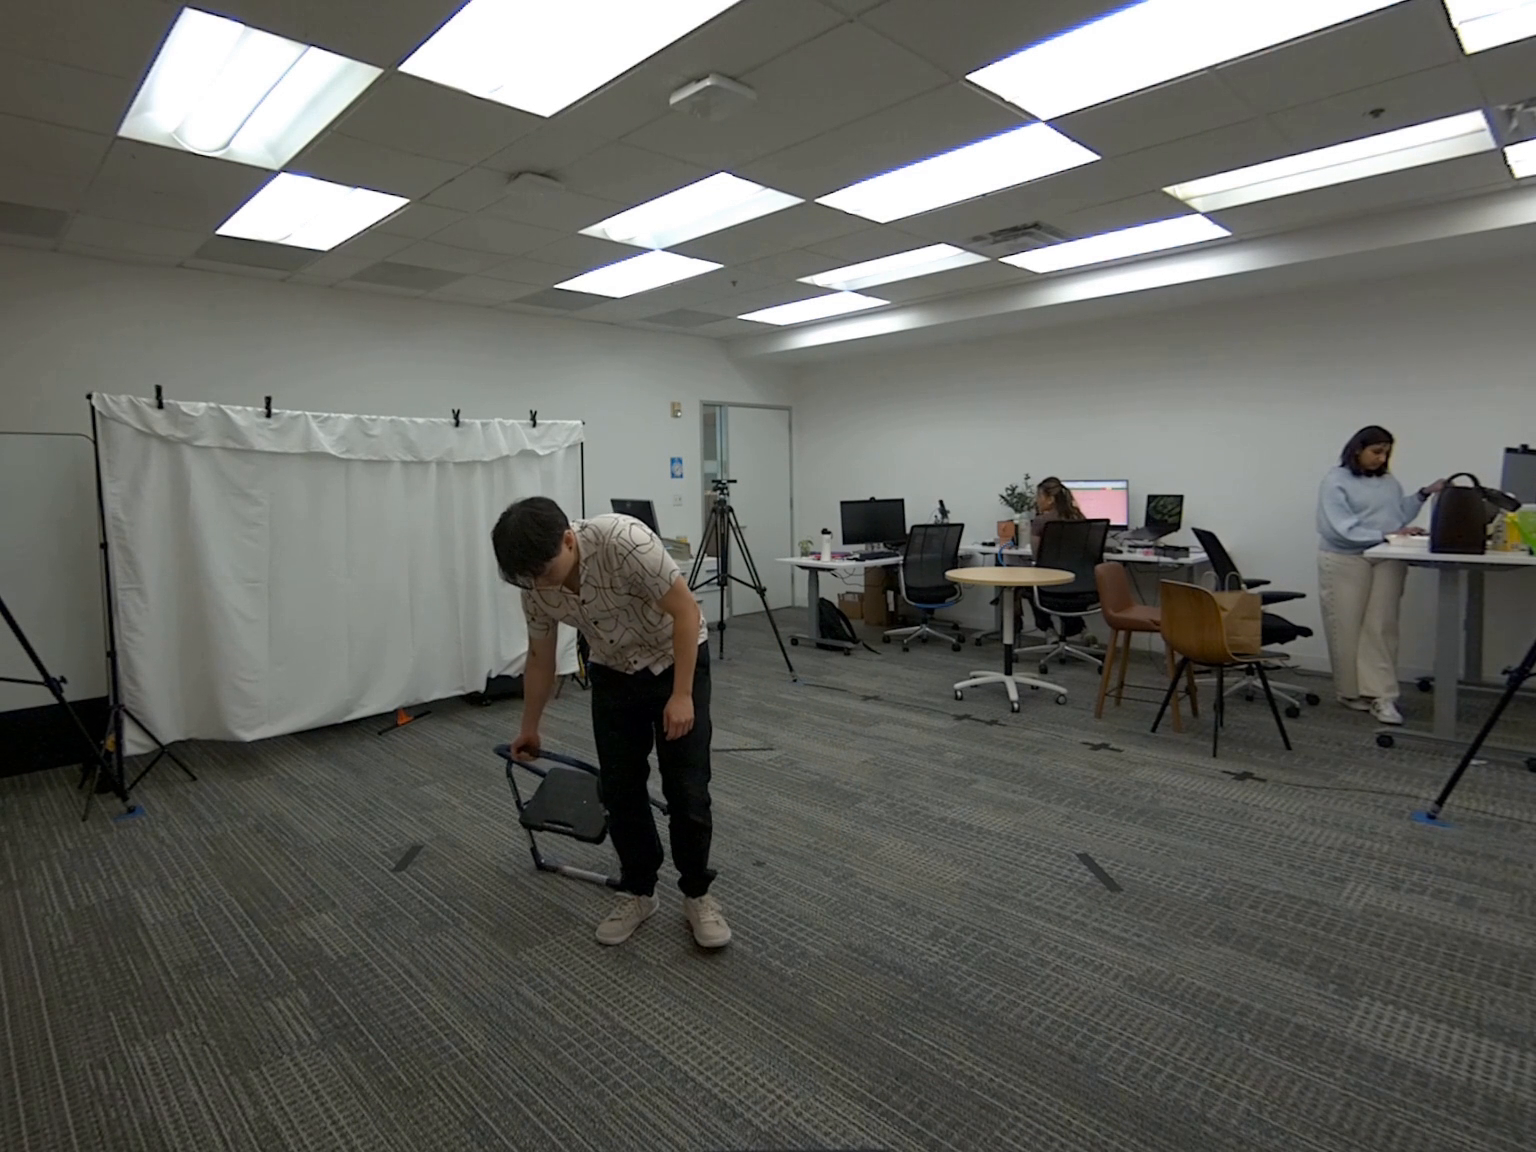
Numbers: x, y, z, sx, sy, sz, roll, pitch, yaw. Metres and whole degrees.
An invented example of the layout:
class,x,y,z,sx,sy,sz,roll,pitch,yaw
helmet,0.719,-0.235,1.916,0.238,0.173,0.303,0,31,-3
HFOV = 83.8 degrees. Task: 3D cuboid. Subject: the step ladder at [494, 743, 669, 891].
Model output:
class,x,y,z,sx,sy,sz,roll,pitch,yaw
step ladder,-0.685,0.739,2.971,0.441,0.586,0.352,1,41,26
